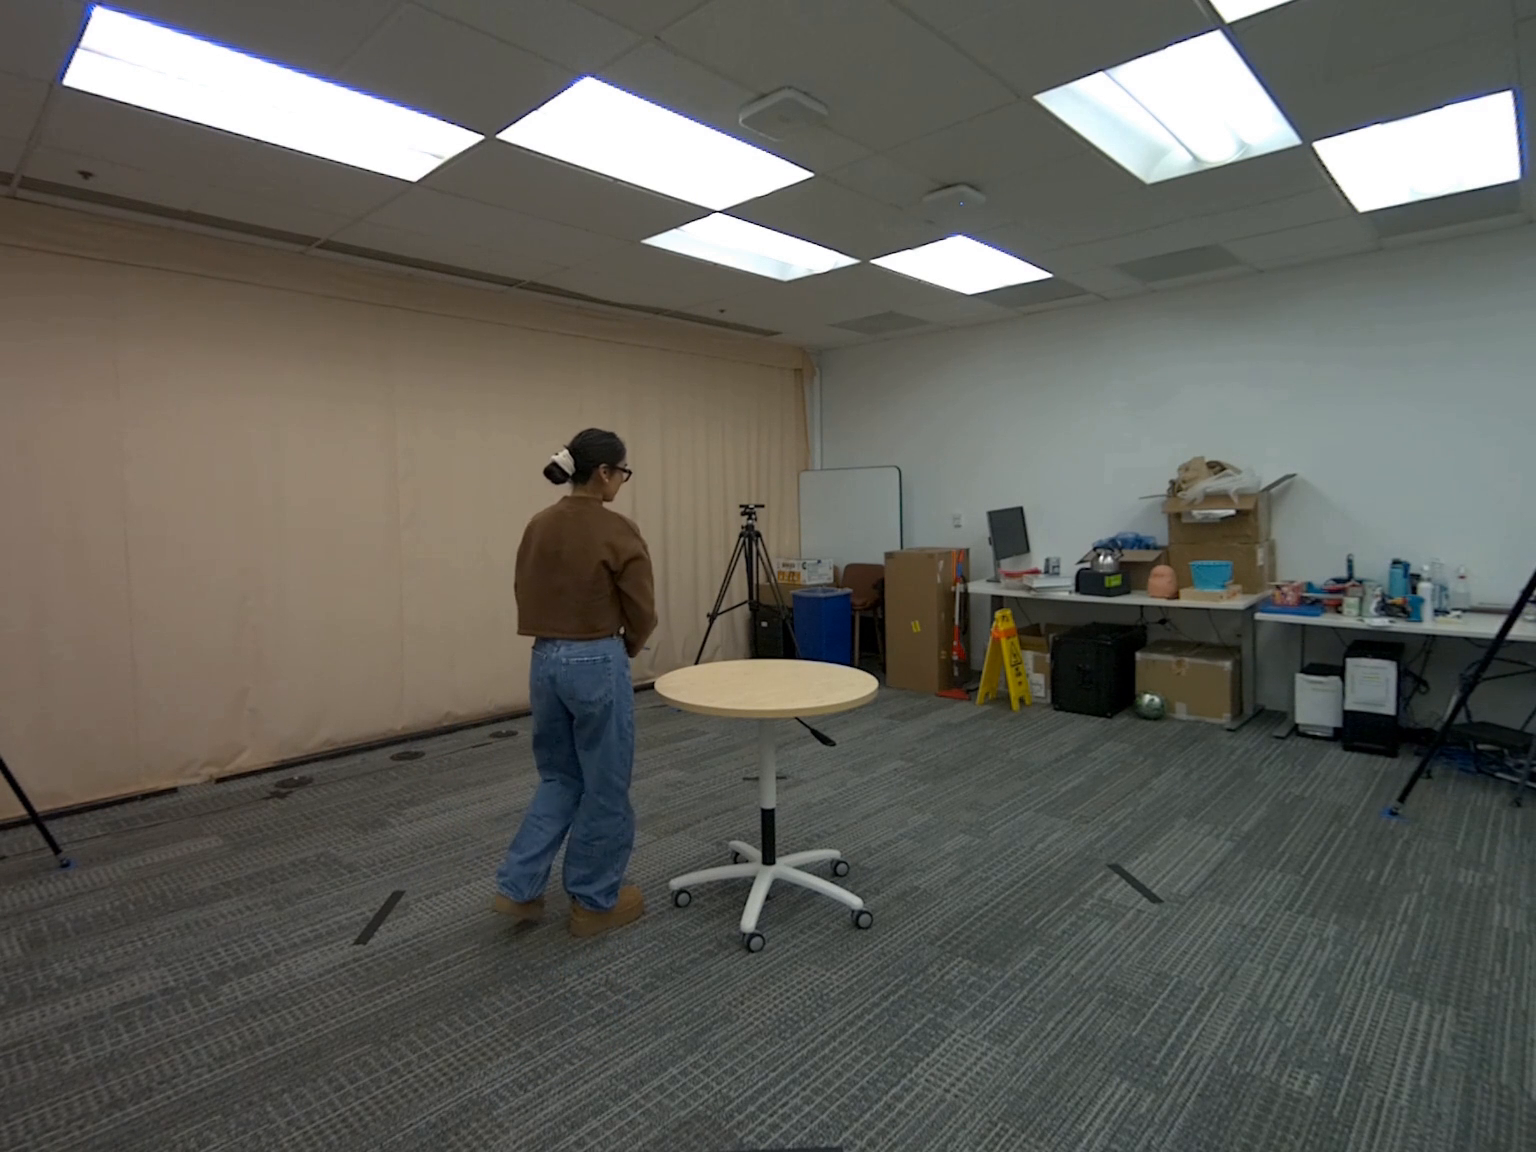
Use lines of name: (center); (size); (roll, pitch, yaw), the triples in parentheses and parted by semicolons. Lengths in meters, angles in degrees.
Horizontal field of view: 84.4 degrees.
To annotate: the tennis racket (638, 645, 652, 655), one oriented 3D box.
tennis racket: (-0.550, 0.275, 3.129); (0.210, 0.032, 0.439); (9, -5, -17)
